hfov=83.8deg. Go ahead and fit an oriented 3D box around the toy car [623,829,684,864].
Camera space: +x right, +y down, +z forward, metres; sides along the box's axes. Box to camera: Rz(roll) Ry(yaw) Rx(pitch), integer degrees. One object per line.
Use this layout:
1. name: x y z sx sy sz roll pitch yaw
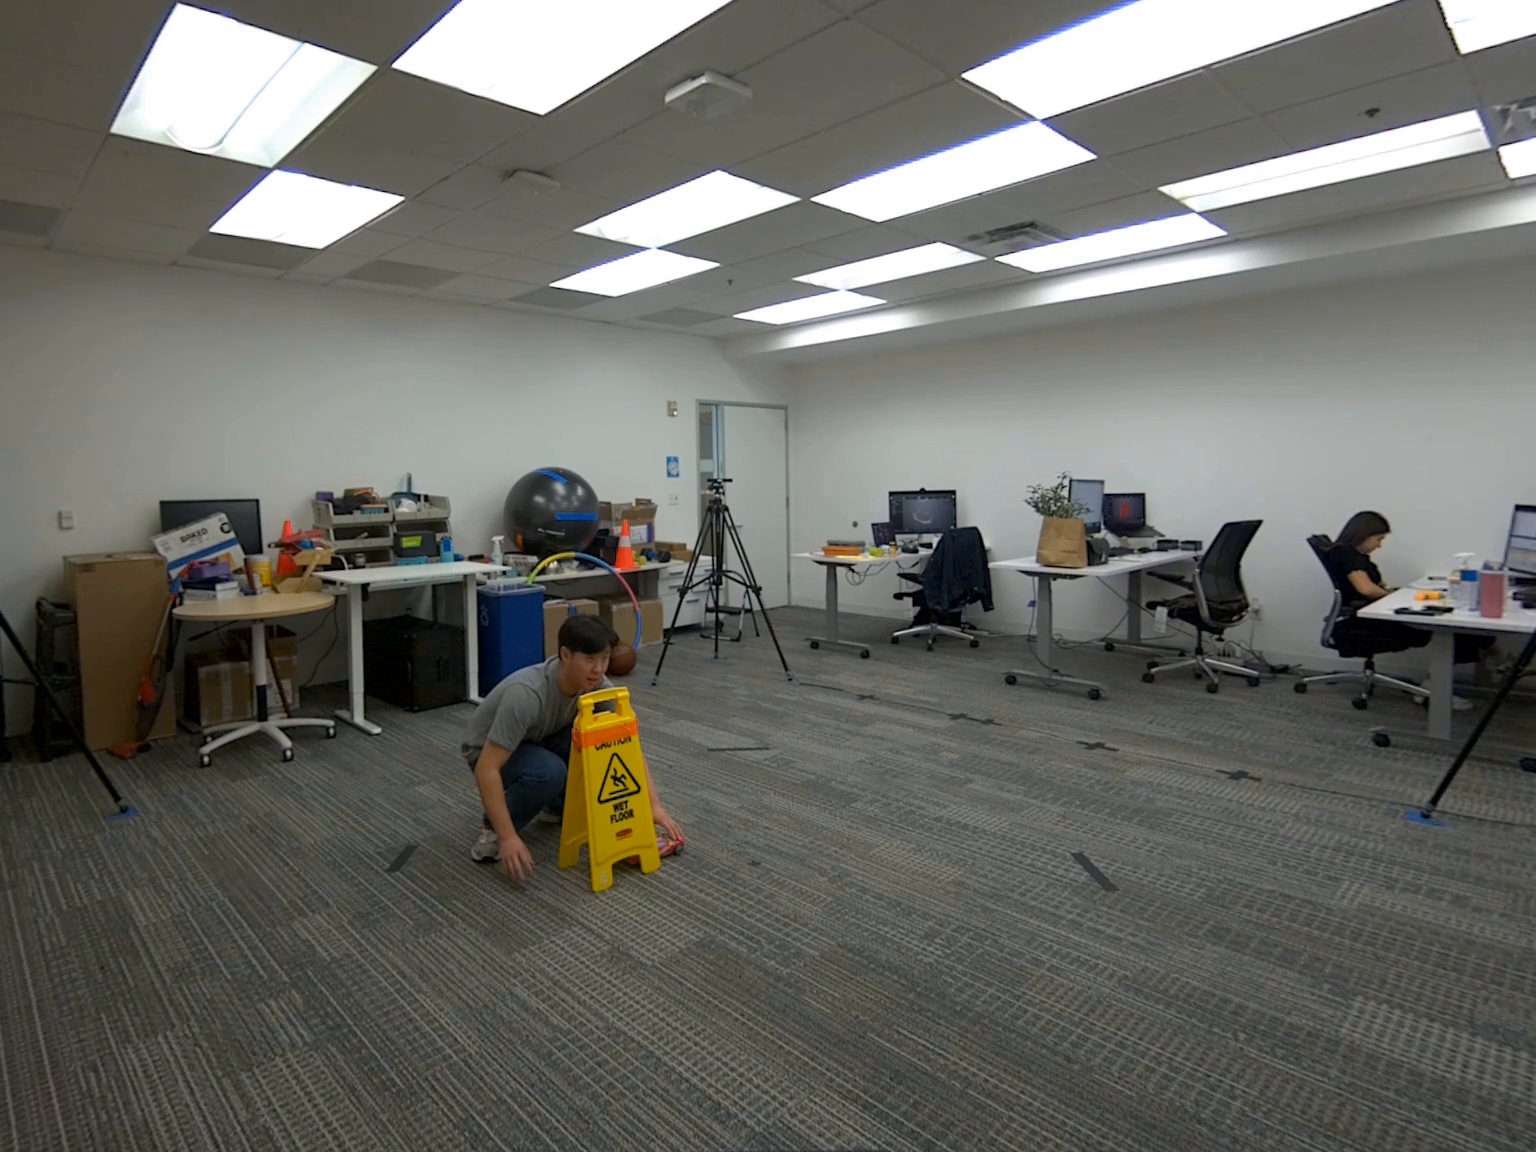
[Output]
1. toy car: -0.433 1.009 3.173 0.246 0.083 0.134 10 -2 -38
